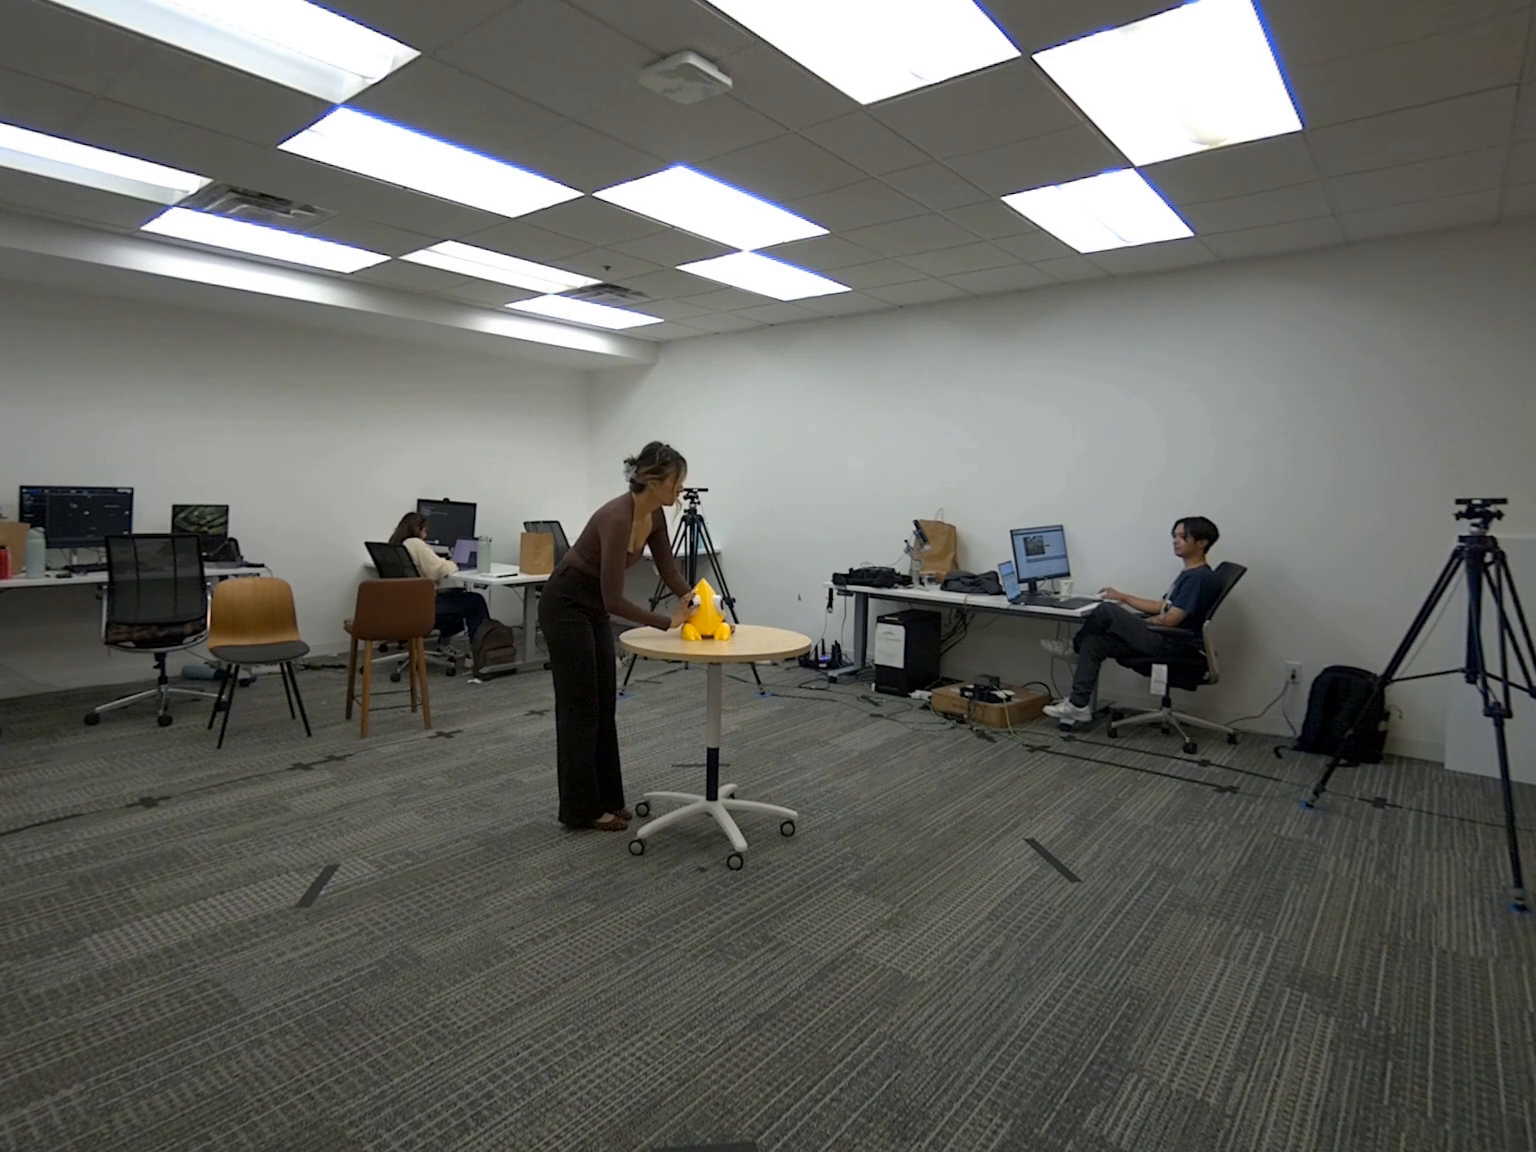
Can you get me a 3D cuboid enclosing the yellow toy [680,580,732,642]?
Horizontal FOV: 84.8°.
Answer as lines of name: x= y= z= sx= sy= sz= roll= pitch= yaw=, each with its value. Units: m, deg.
yellow toy: x=-0.255 y=0.128 z=3.416 sx=0.201 sy=0.230 sz=0.197 roll=0 pitch=4 yaw=-17
